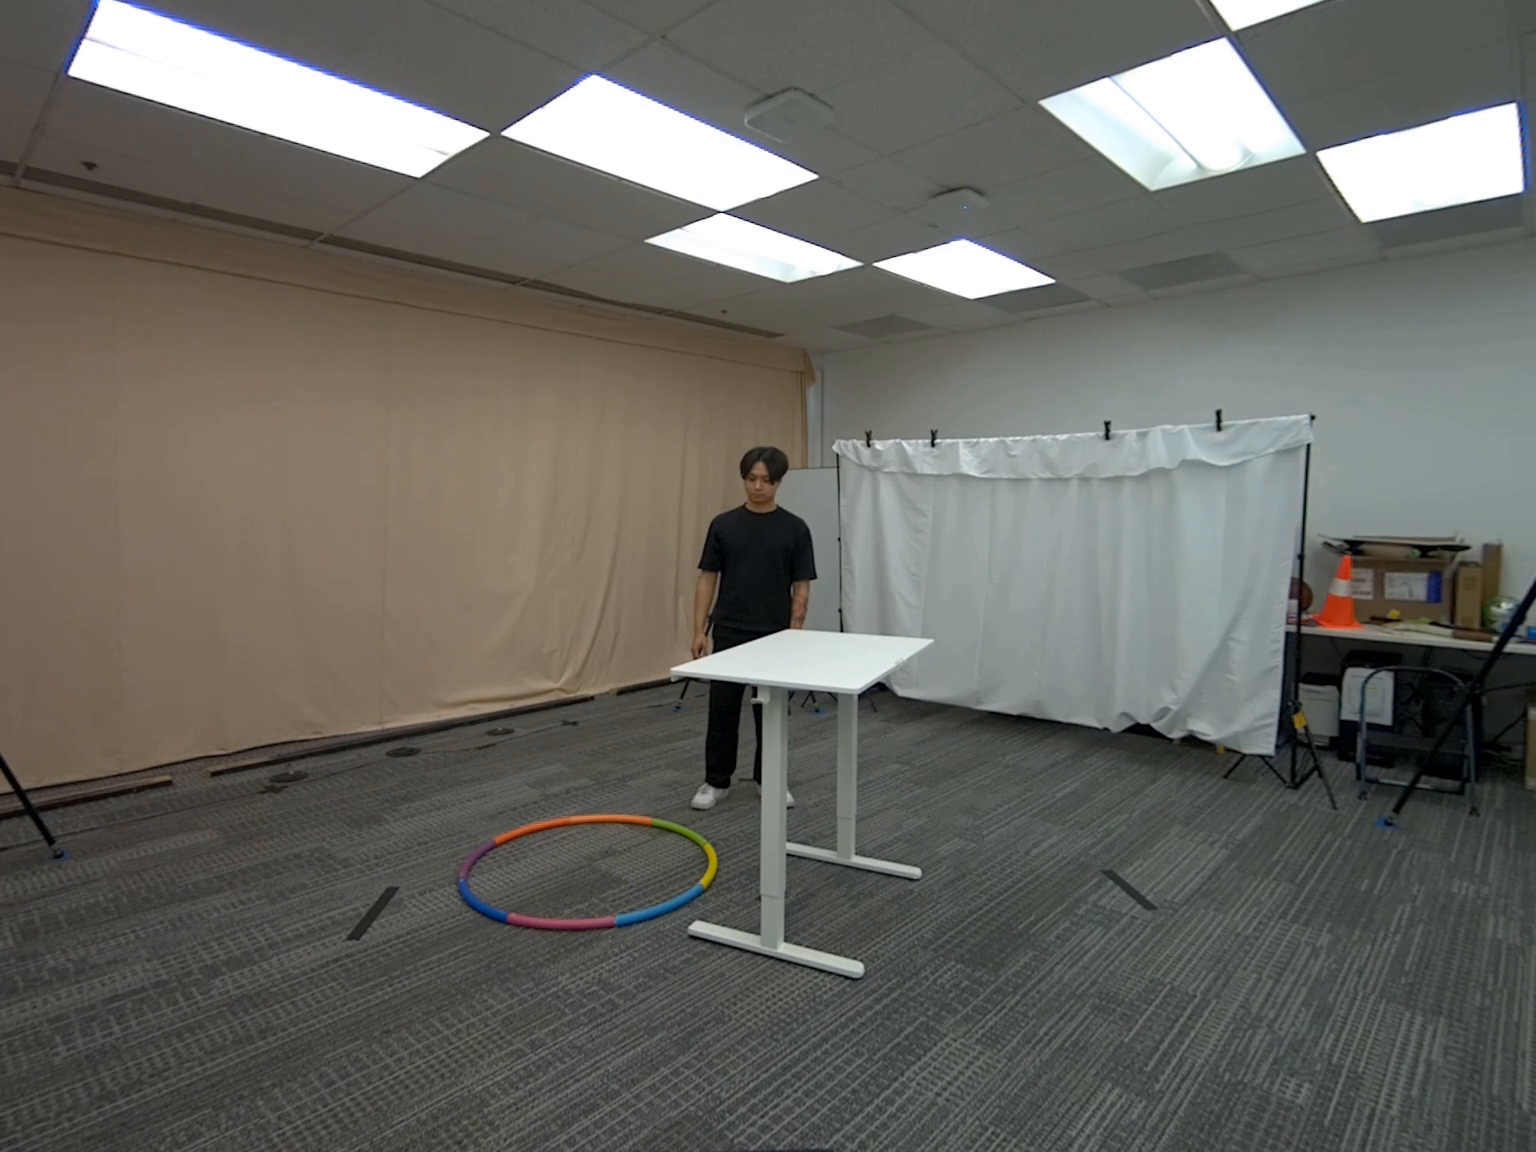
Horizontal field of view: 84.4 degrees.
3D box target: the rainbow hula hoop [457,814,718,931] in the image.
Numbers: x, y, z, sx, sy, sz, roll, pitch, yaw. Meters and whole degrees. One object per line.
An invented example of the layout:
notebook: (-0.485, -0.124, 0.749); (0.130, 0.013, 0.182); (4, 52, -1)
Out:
rainbow hula hoop: (-0.682, 1.100, 3.243); (0.978, 0.035, 0.982); (0, 5, -2)
